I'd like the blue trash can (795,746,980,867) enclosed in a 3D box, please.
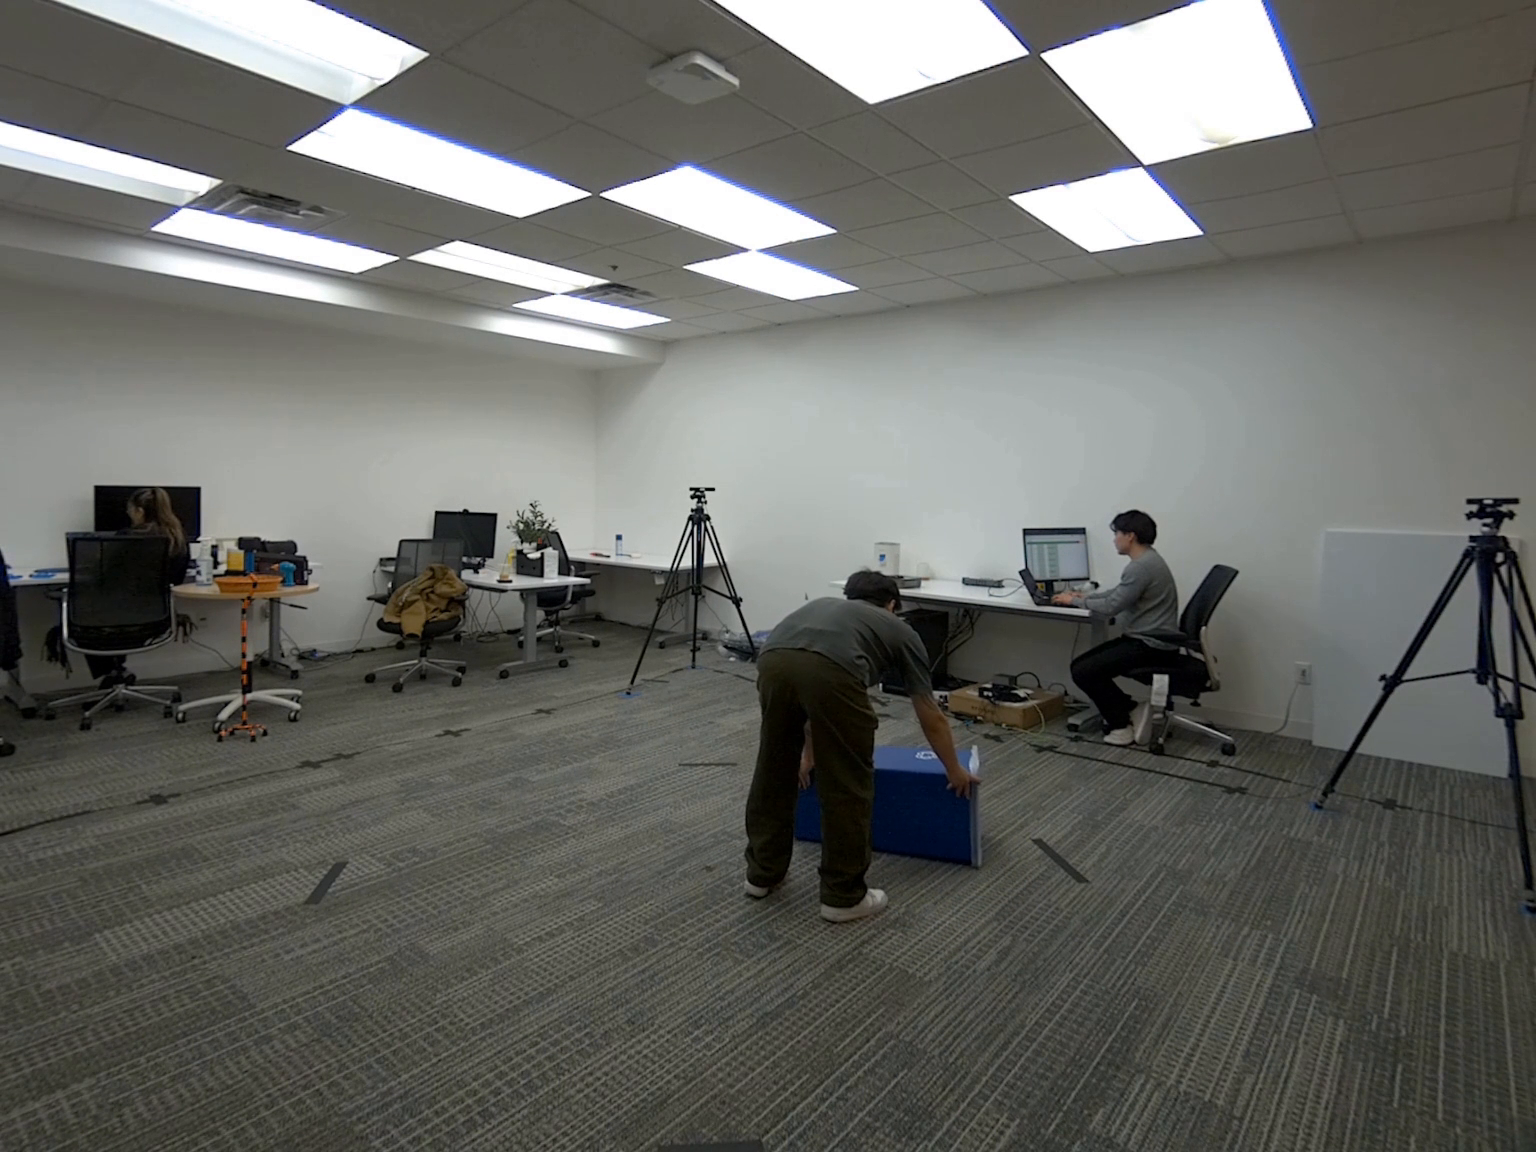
[{"bbox_3d":[0.468,0.874,3.411,0.726,0.373,0.373,1,5,16],"label":"blue trash can"}]
